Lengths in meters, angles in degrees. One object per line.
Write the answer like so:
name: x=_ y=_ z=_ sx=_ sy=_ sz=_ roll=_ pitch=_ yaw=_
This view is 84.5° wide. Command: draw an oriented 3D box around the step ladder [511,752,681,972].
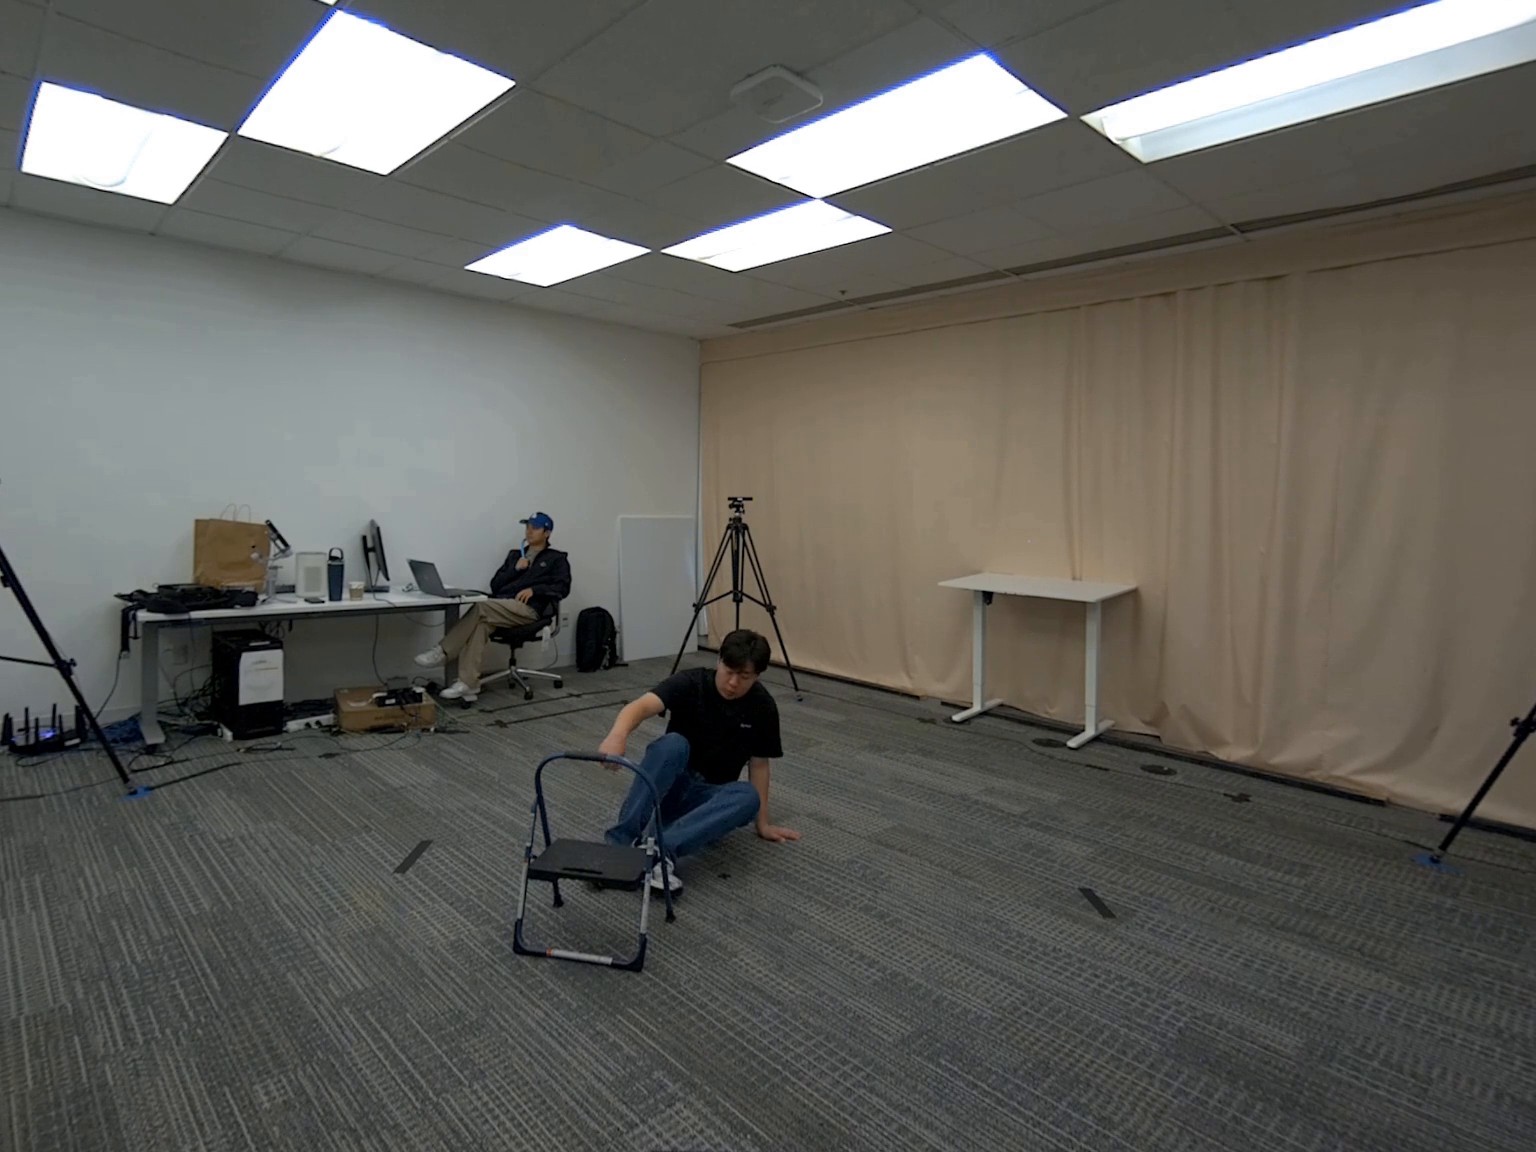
step ladder: x=-0.543 y=0.839 z=2.648 sx=0.434 sy=0.604 sz=0.347 roll=2 pitch=3 yaw=10
